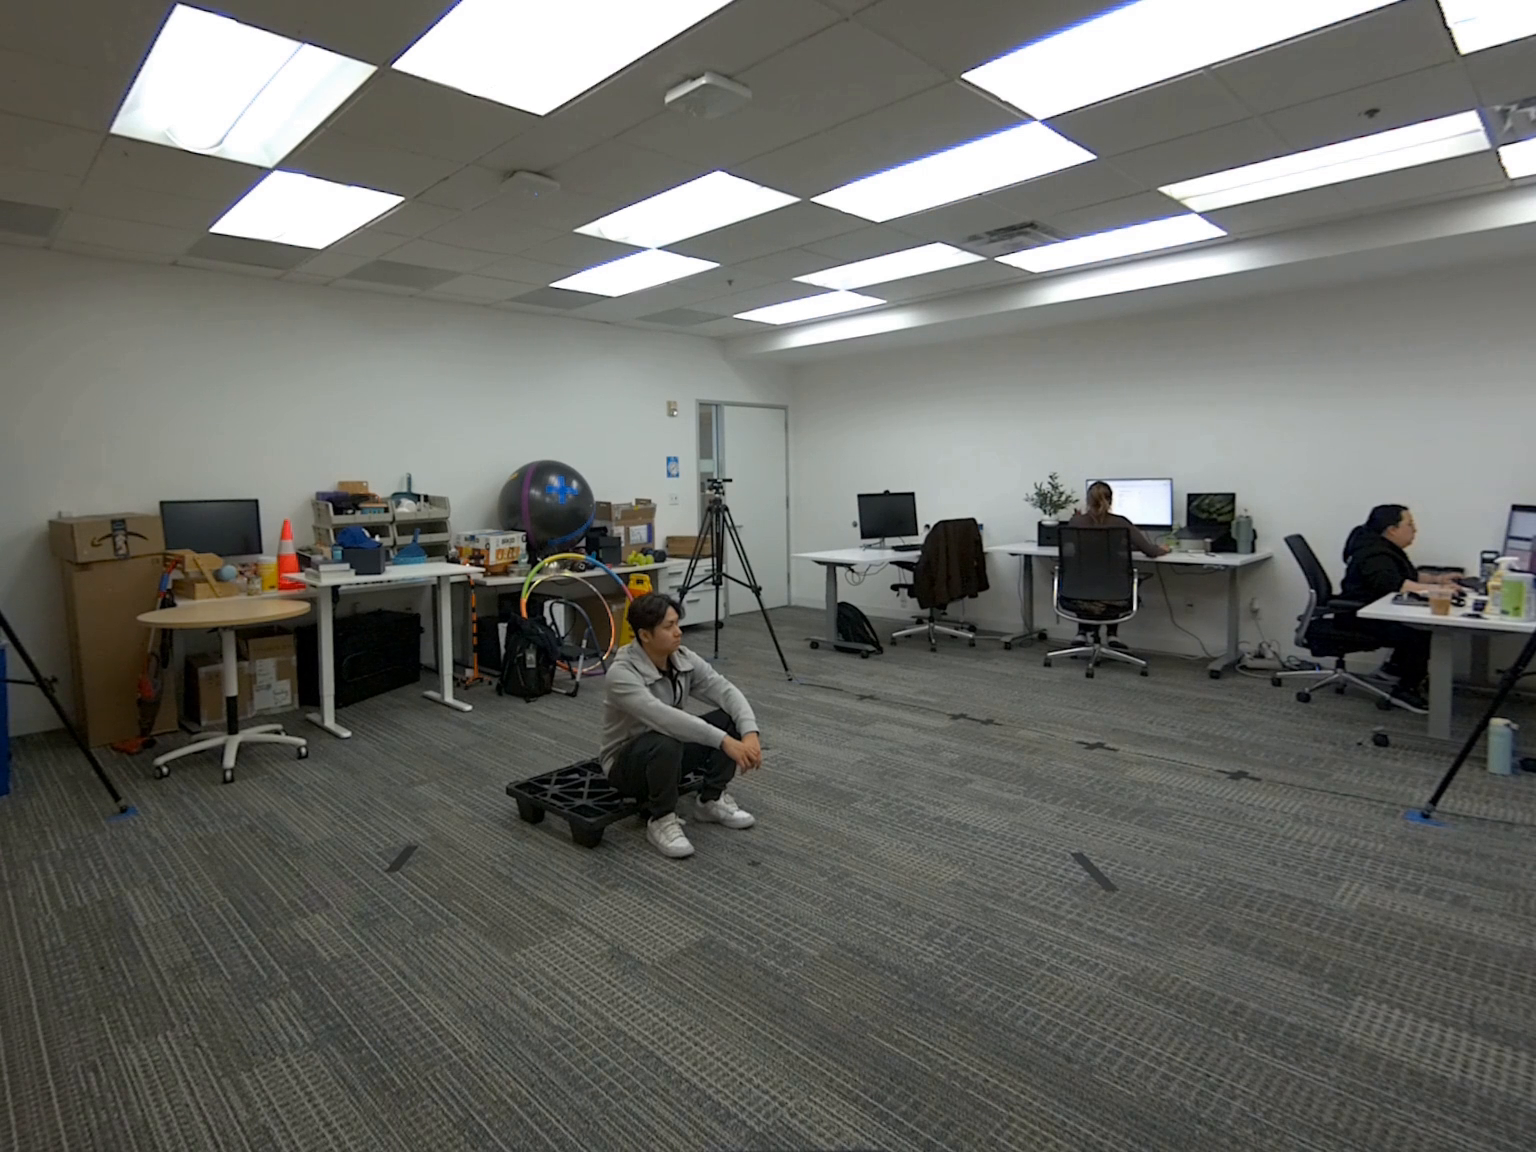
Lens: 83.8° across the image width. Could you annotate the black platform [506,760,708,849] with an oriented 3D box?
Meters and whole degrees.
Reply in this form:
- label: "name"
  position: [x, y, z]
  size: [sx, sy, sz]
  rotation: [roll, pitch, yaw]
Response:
- label: "black platform"
  position: [-0.617, 0.926, 3.672]
  size: [0.624, 0.142, 0.785]
  rotation: [5, 9, 41]
